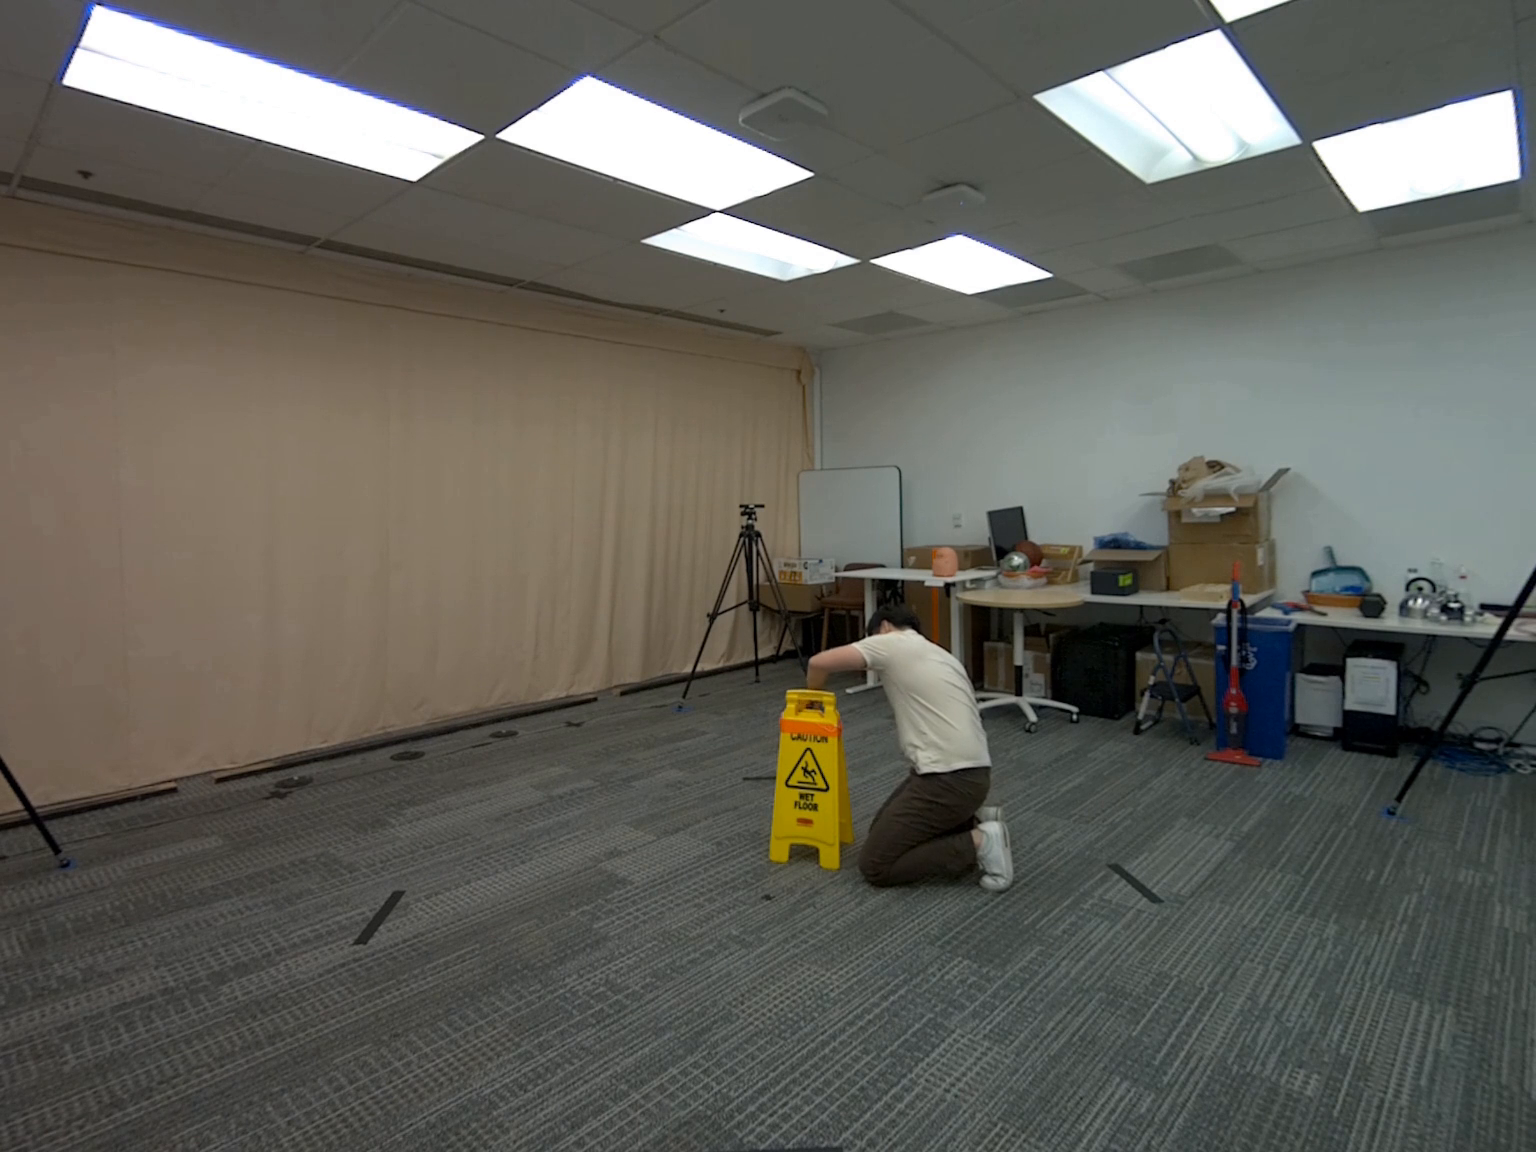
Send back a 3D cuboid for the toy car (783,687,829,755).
[{"bbox_3d":[0.153,0.590,3.459,0.133,0.252,0.082,-6,12,20],"label":"toy car"}]
